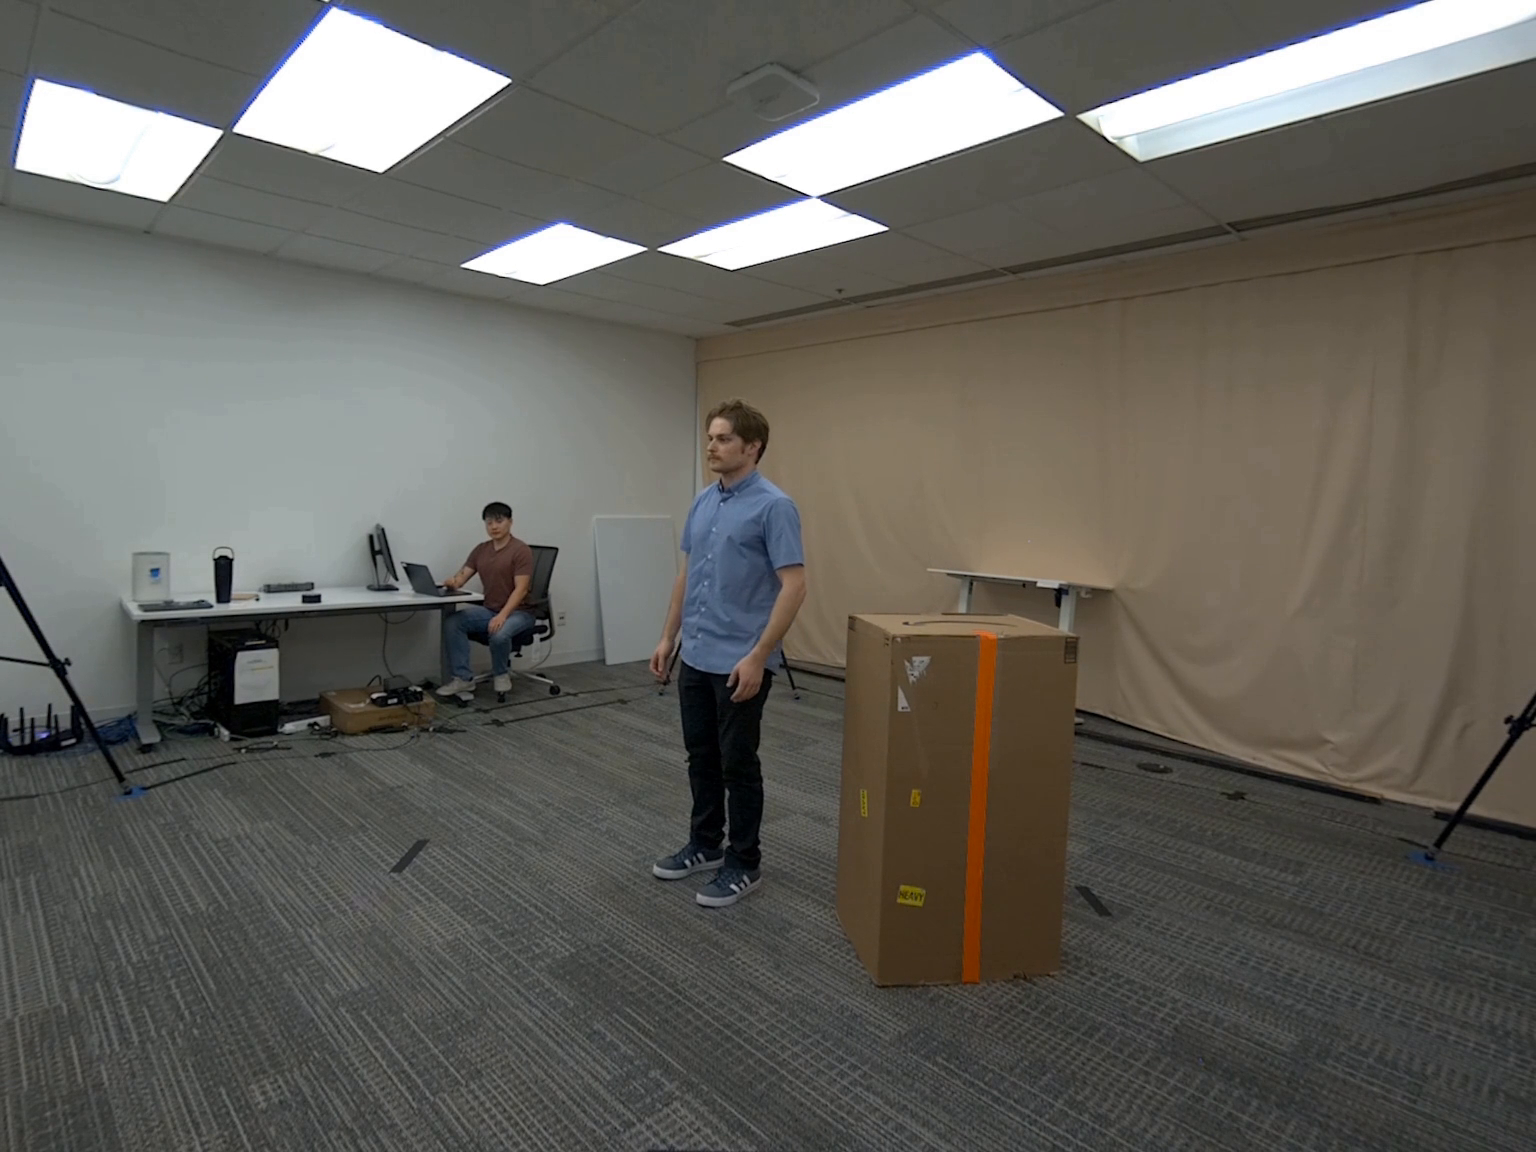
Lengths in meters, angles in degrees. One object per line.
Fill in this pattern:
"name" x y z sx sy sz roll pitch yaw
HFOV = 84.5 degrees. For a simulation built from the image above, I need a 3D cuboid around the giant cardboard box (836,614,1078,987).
"giant cardboard box" 0.565 0.659 2.622 0.573 1.023 0.431 2 4 -11
